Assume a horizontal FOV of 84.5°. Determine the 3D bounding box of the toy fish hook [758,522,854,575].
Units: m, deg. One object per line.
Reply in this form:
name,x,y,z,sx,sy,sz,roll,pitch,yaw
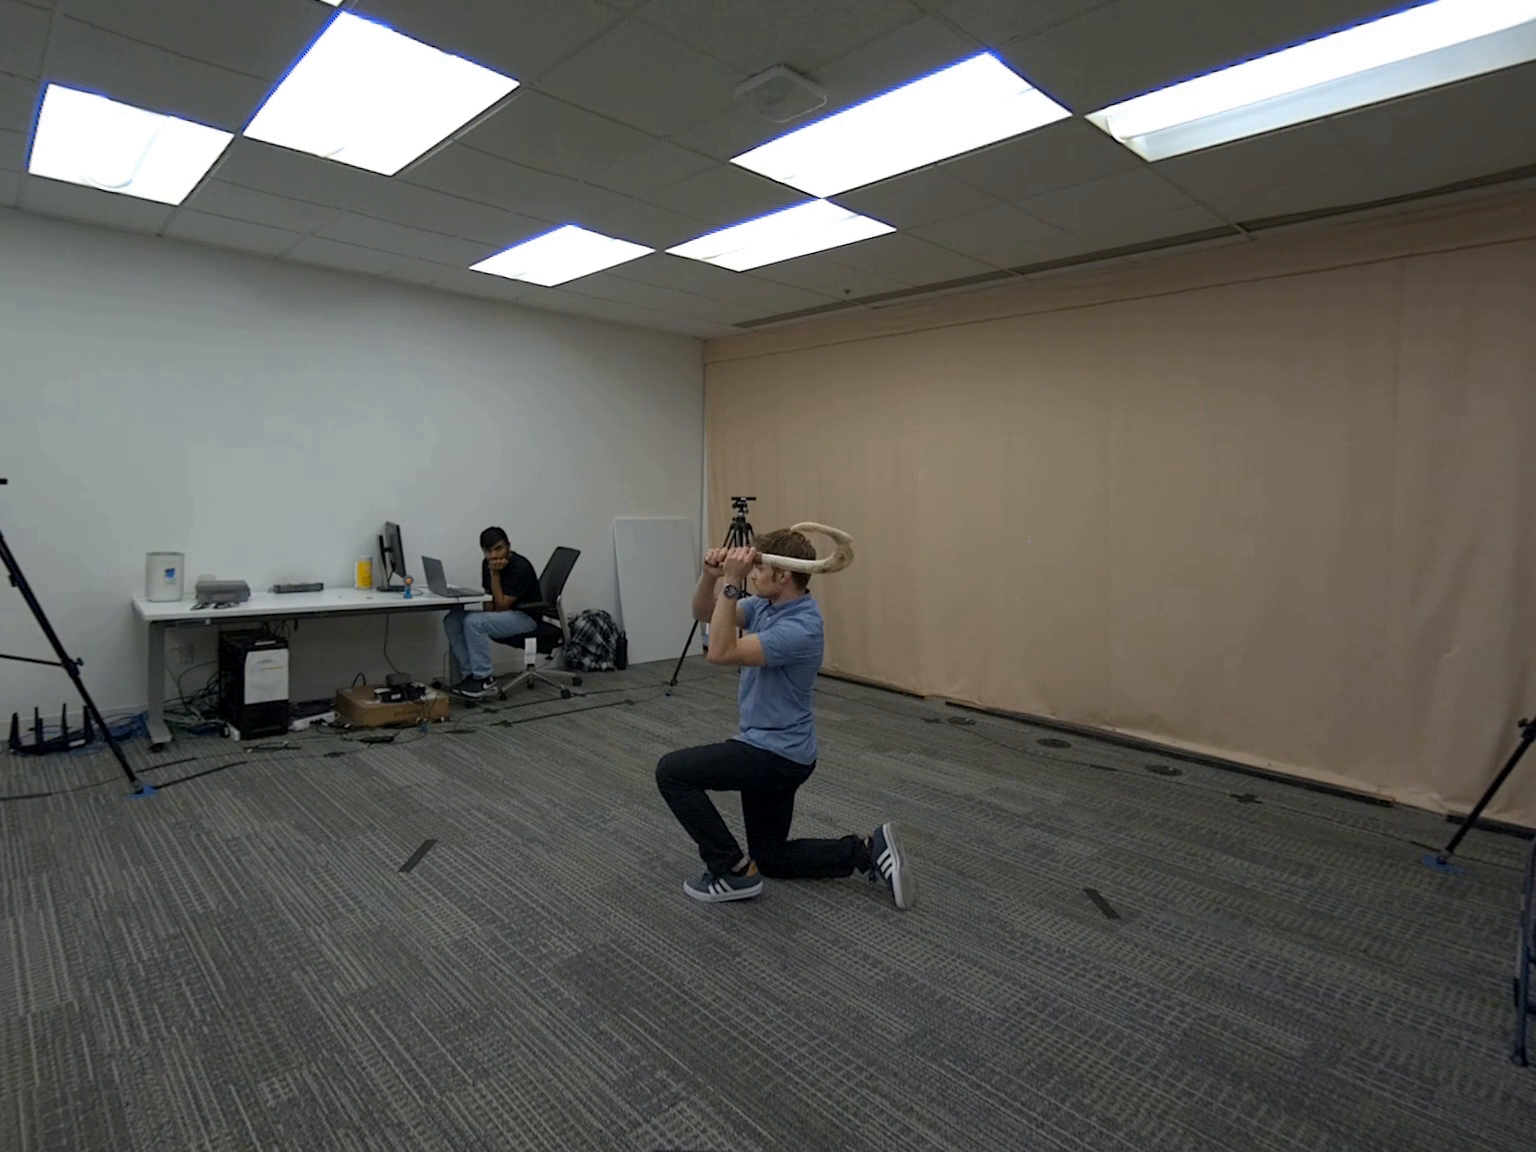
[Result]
toy fish hook,0.007,-0.097,2.763,0.512,0.219,0.049,0,36,15
